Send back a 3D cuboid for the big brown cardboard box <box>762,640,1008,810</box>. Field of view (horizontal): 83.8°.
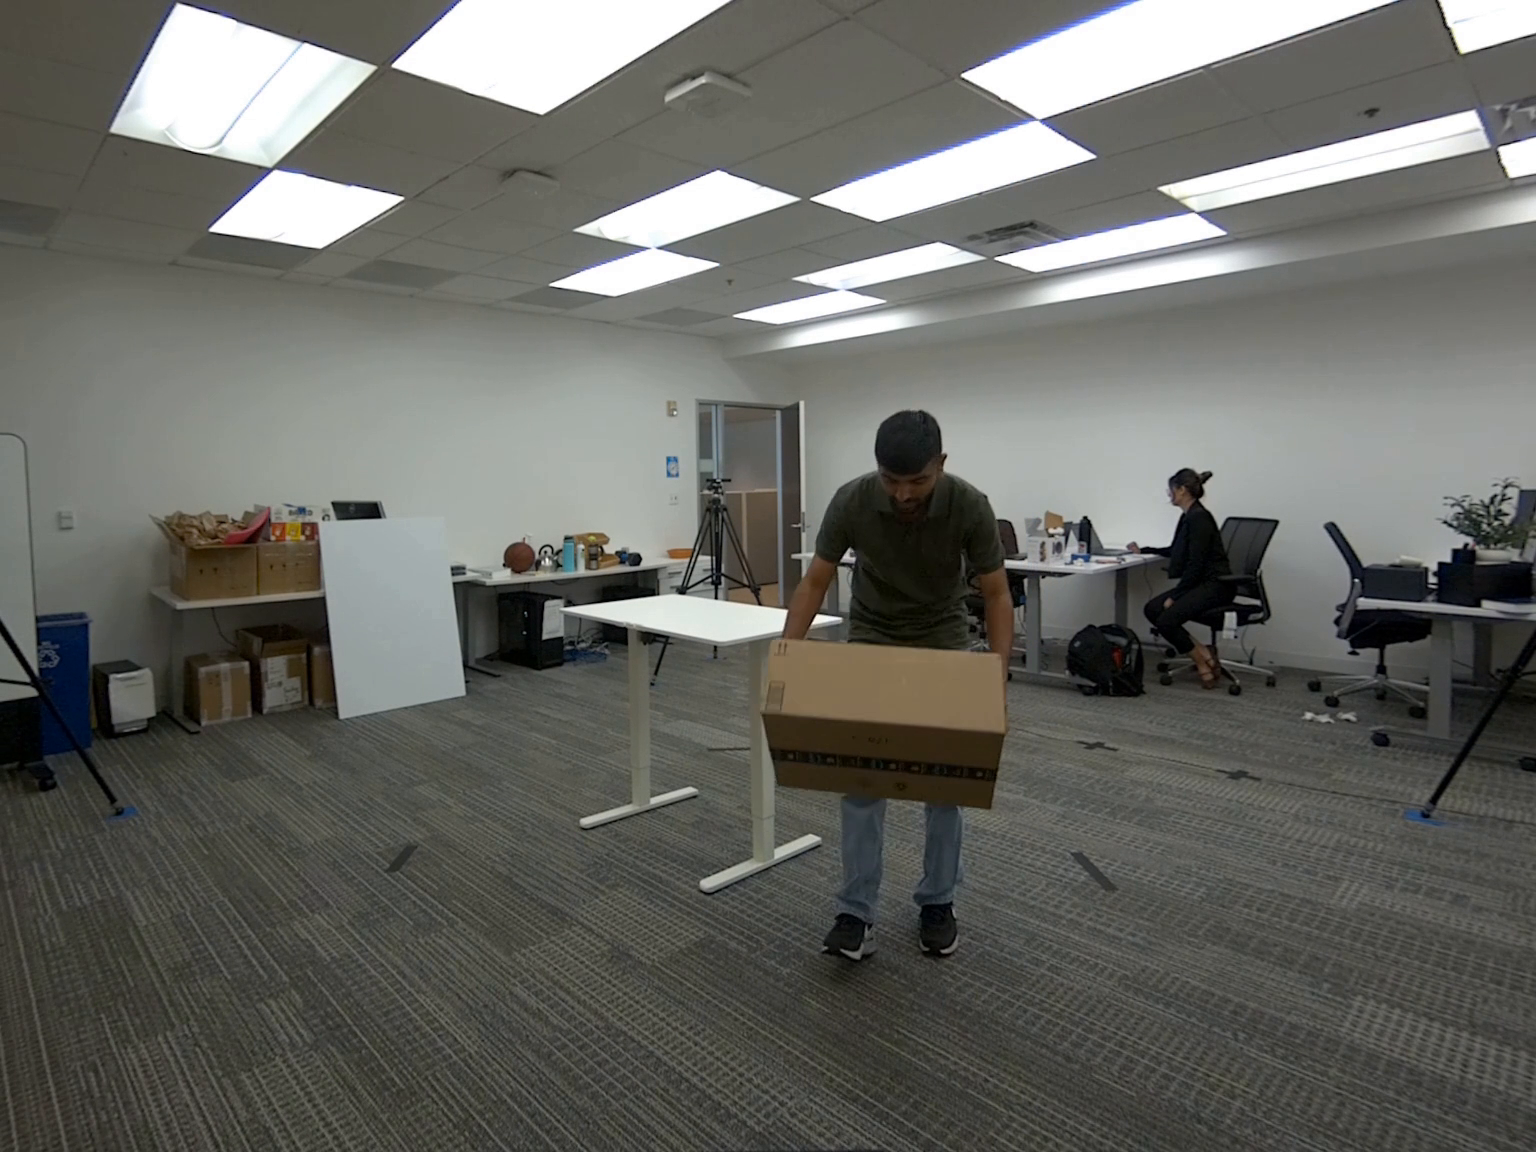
[{"bbox_3d":[0.284,0.391,2.204,0.597,0.237,0.404,4,-39,12],"label":"big brown cardboard box"}]
